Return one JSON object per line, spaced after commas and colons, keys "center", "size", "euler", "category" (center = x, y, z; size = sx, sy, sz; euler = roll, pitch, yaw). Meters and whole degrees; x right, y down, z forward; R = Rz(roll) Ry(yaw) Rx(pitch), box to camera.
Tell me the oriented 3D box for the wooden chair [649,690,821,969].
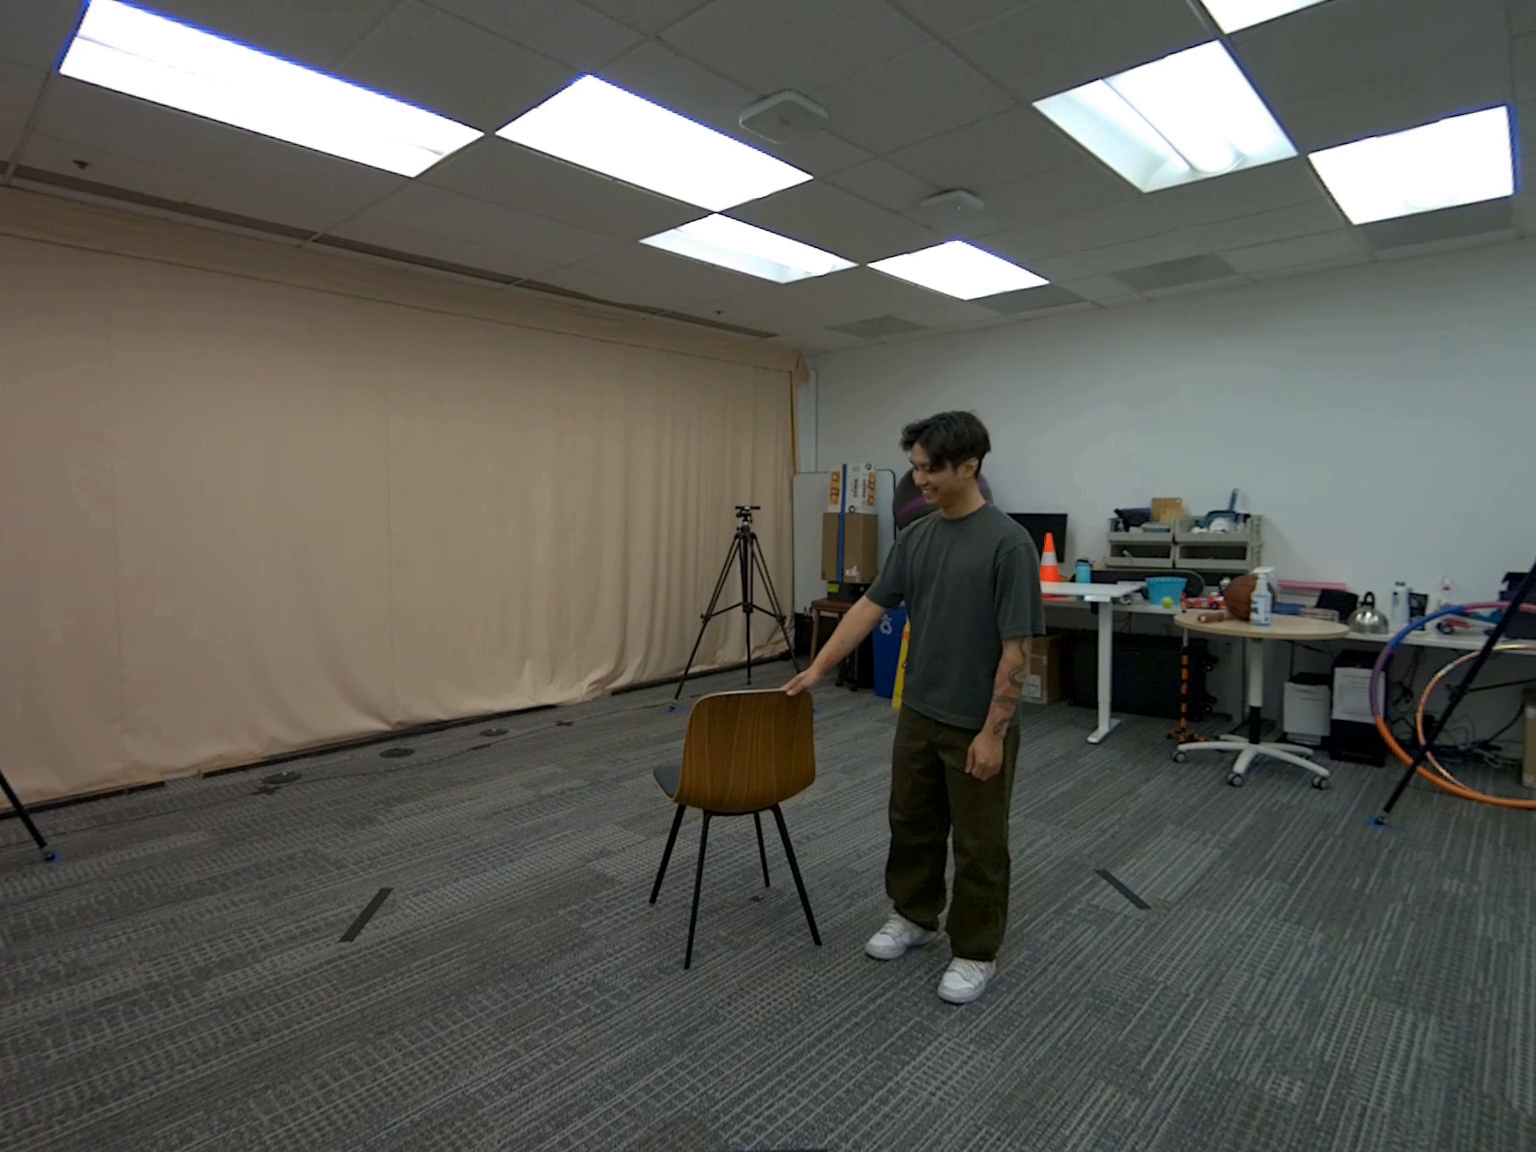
{"center": [-0.121, 0.735, 2.787], "size": [0.469, 0.873, 0.536], "euler": [-2, 8, -20], "category": "wooden chair"}
